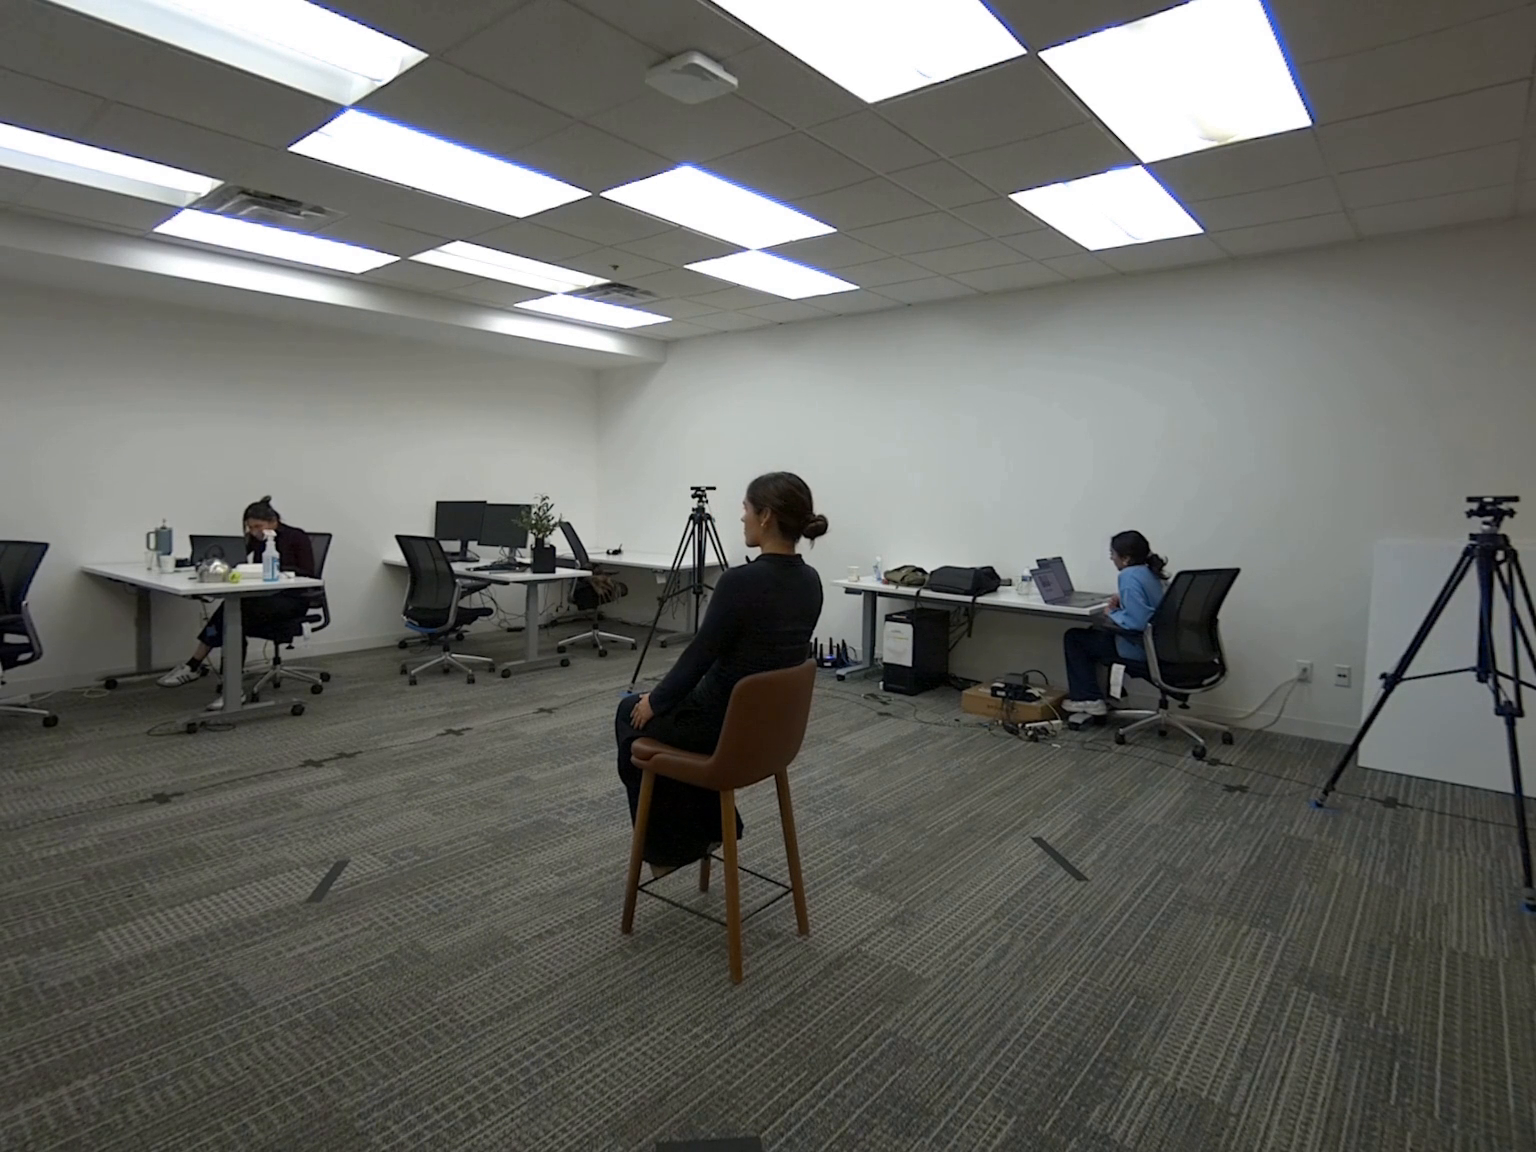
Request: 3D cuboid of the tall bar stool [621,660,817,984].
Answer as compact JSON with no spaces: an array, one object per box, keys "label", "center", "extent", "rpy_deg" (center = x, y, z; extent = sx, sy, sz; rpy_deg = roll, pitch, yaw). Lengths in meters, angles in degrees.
[{"label":"tall bar stool","center":[-0.148,0.679,2.624],"extent":[0.483,0.886,0.443],"rpy_deg":[6,6,37]}]
